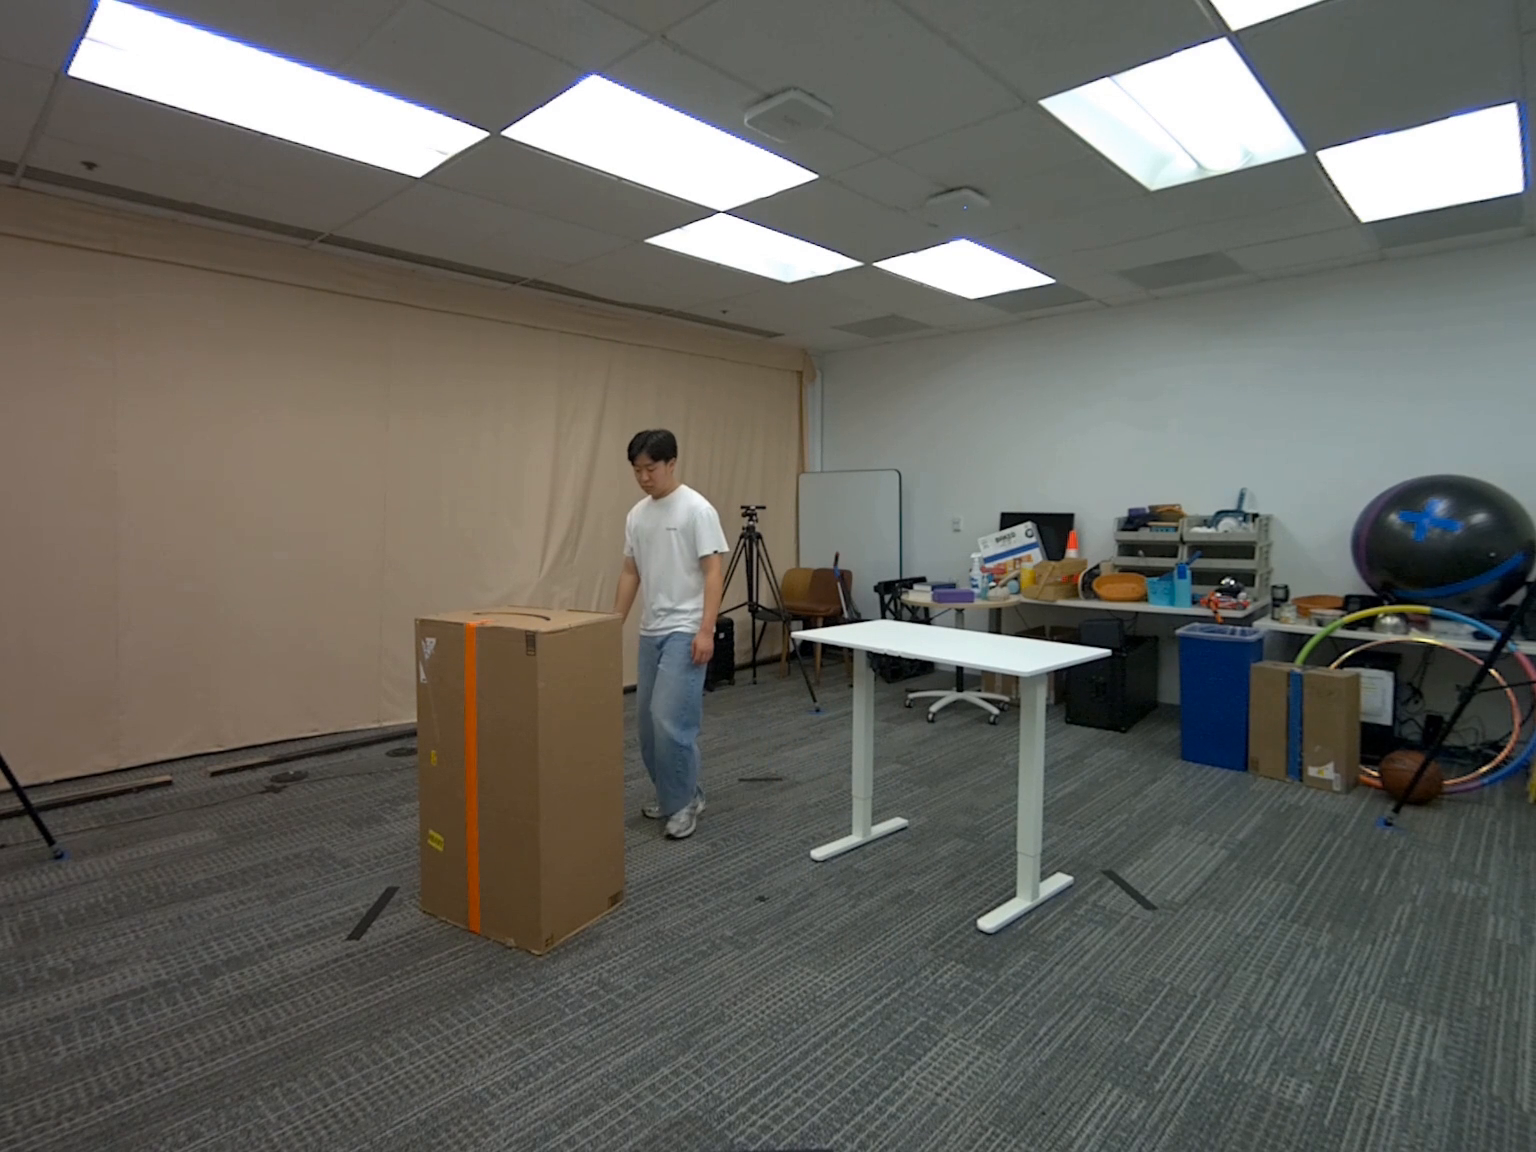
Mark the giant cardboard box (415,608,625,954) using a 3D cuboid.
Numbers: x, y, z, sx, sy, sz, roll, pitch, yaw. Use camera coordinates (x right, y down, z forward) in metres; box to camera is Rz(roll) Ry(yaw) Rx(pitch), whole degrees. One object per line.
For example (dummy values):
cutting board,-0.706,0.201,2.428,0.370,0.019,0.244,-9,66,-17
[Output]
giant cardboard box,-0.857,0.648,2.911,0.595,1.024,0.414,2,3,32
